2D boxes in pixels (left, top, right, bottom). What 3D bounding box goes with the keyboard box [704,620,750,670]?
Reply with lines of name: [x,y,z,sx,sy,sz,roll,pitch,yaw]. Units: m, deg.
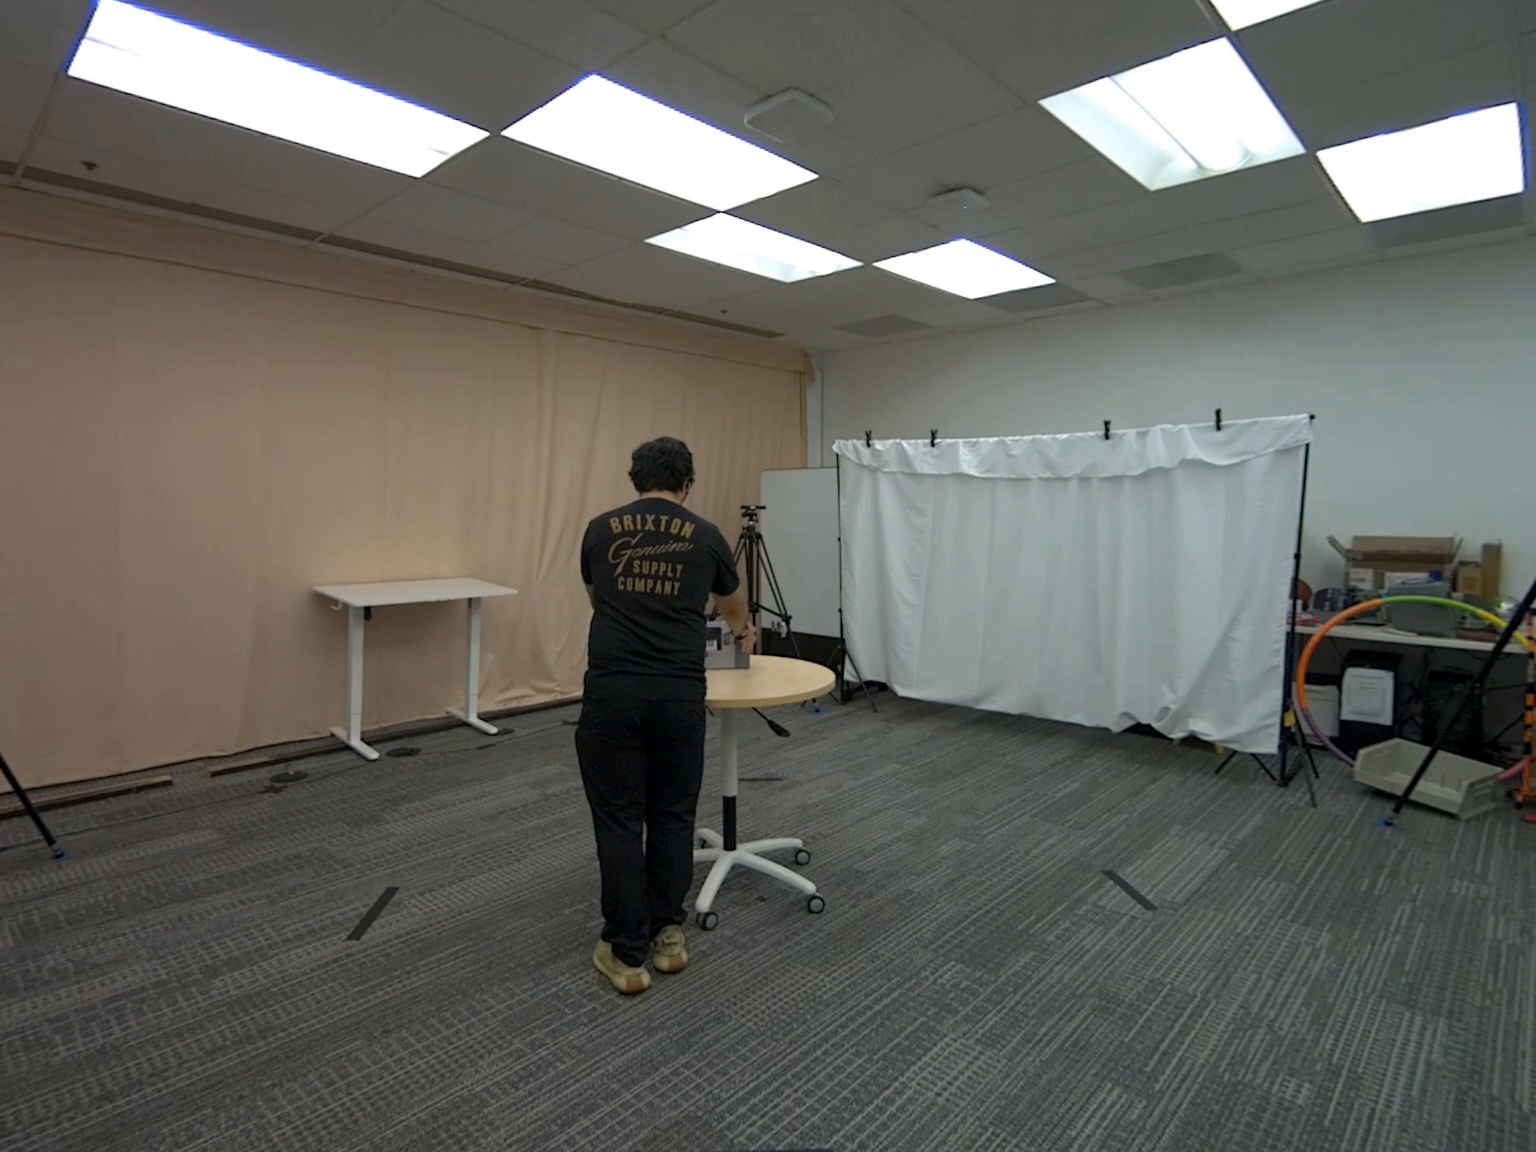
keyboard box: [-0.288,0.258,3.149,0.436,0.176,0.059,-1,1,-2]
